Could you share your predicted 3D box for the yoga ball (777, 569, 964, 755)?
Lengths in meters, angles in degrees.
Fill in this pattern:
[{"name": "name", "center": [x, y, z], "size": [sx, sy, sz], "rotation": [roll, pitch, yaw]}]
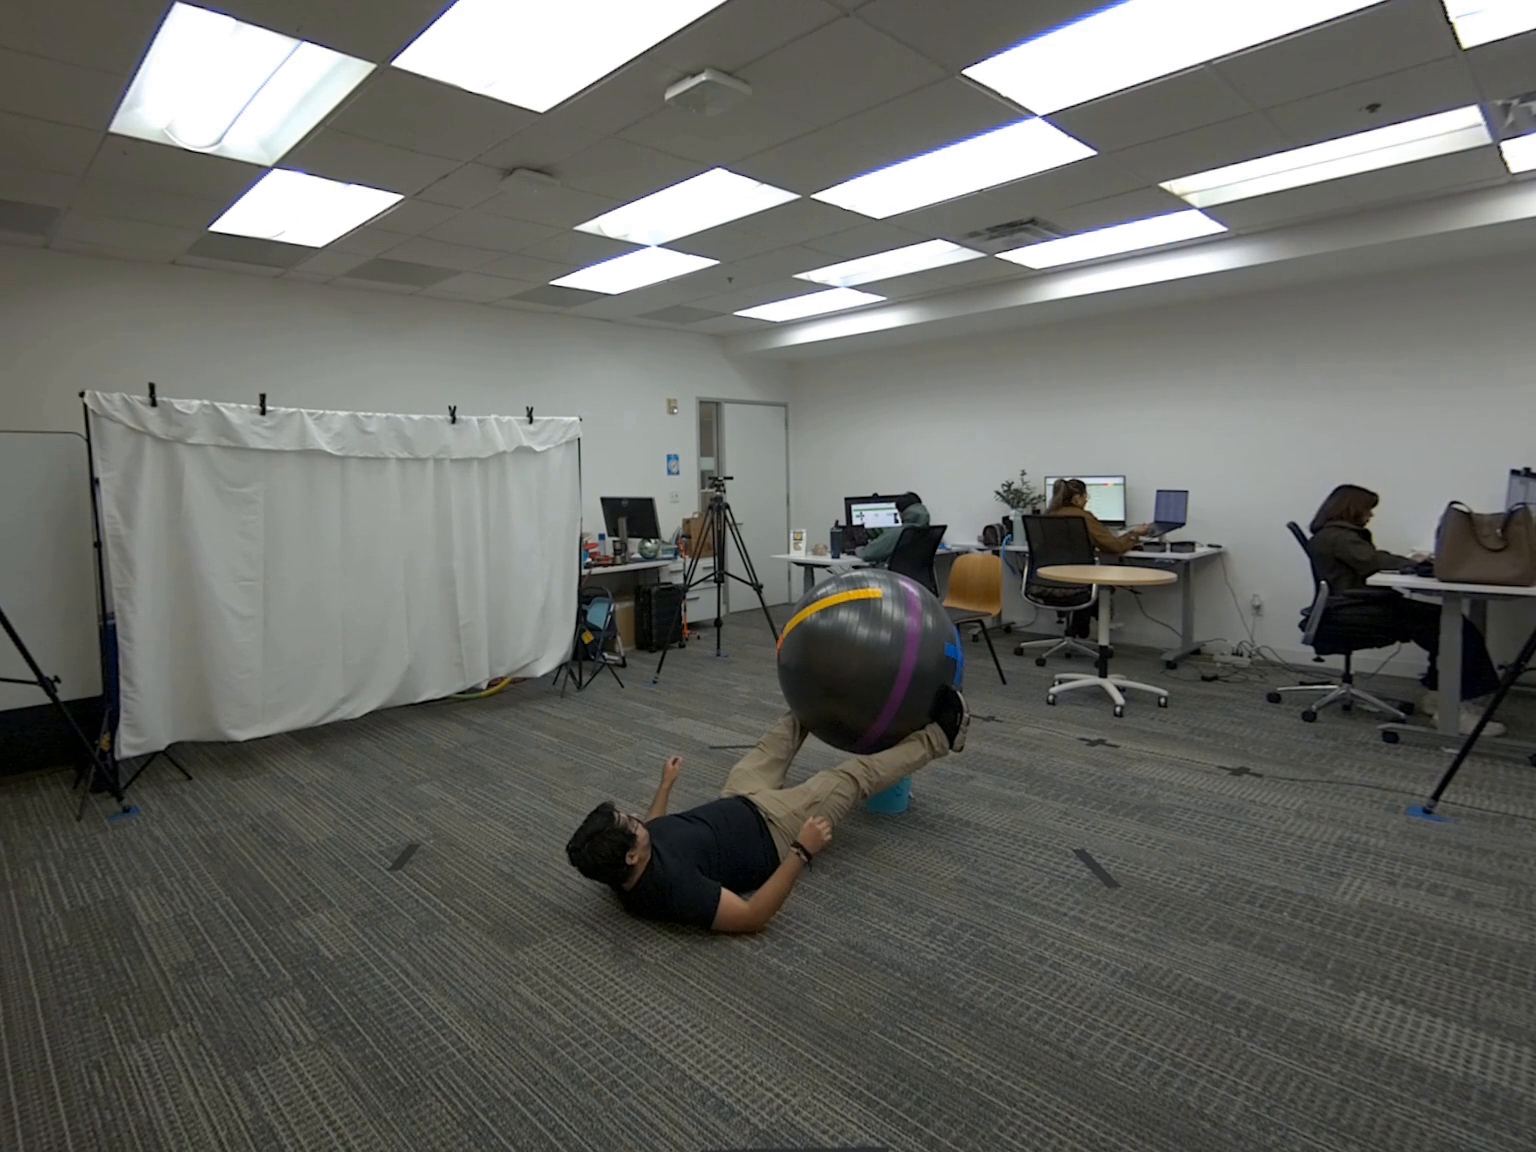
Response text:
[{"name": "yoga ball", "center": [0.418, 0.352, 3.530], "size": [0.757, 0.755, 0.762], "rotation": [-1, 5, -2]}]
